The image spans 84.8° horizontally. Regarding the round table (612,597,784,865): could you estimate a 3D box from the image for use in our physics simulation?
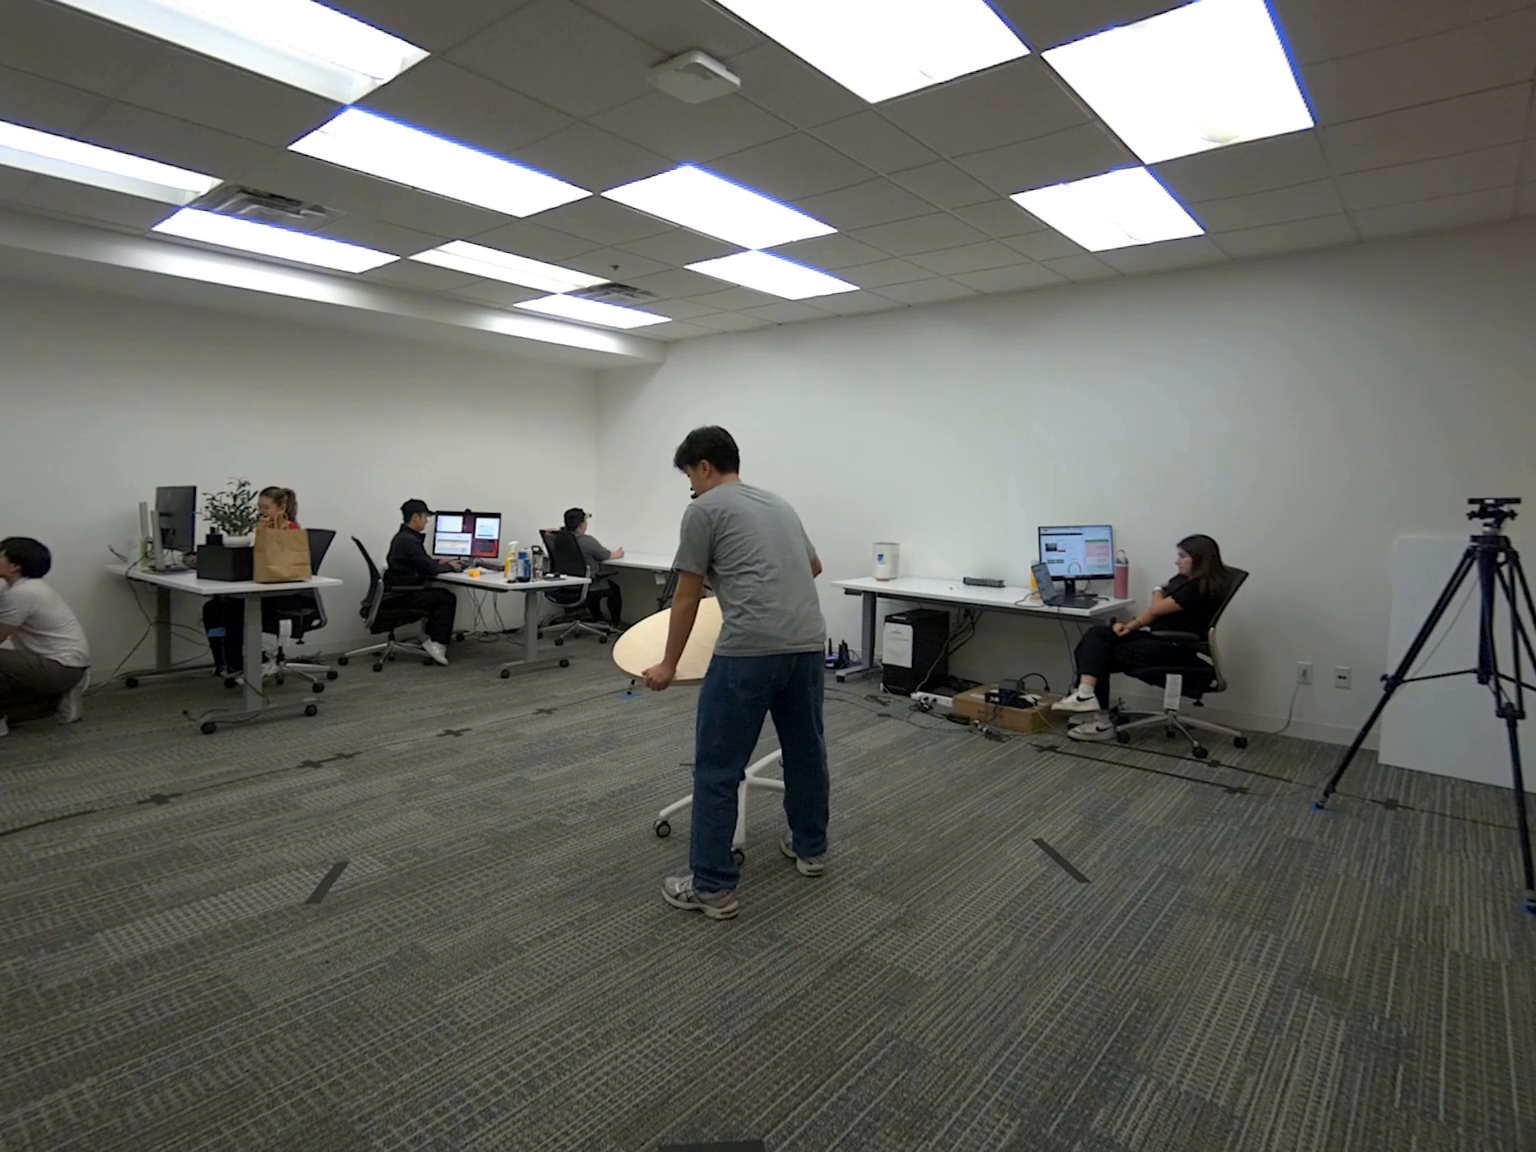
[{"bbox_3d":[-0.174,0.587,3.377,0.765,0.780,0.776,-10,17,1],"label":"round table"}]
